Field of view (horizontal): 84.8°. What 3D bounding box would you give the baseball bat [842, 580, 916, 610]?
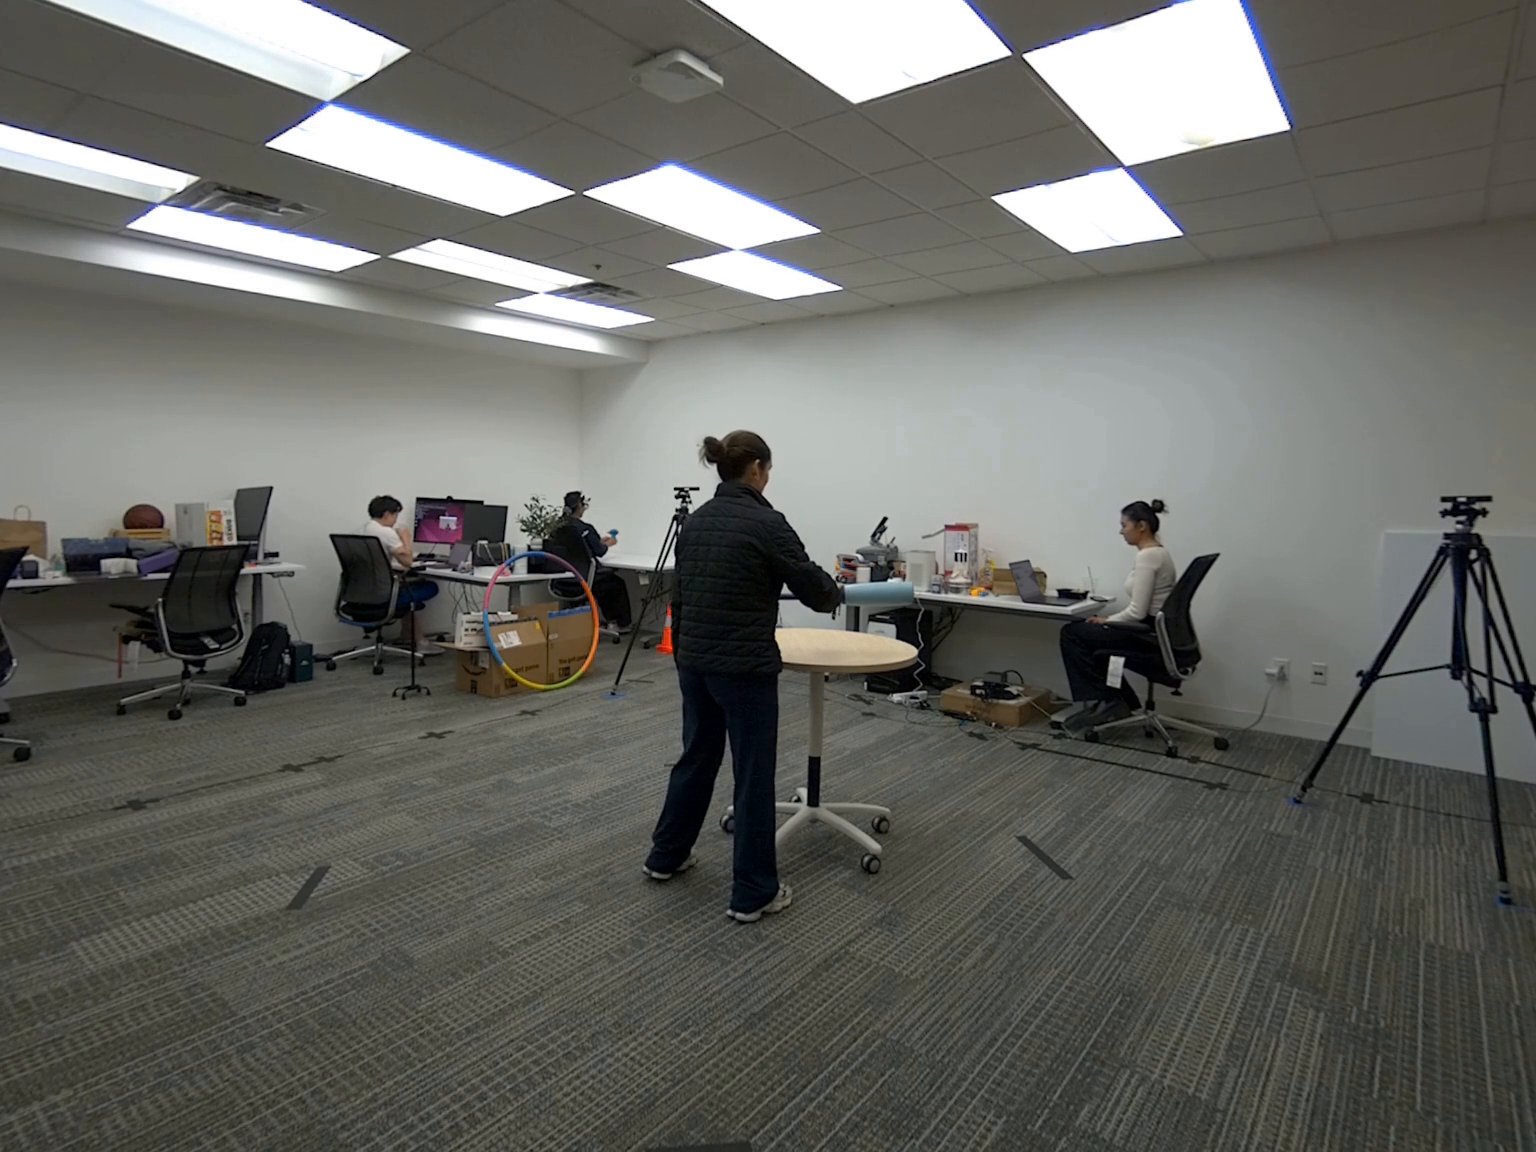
[{"bbox_3d":[0.273,0.074,3.165,0.547,0.089,0.088,-1,4,8],"label":"baseball bat"}]
